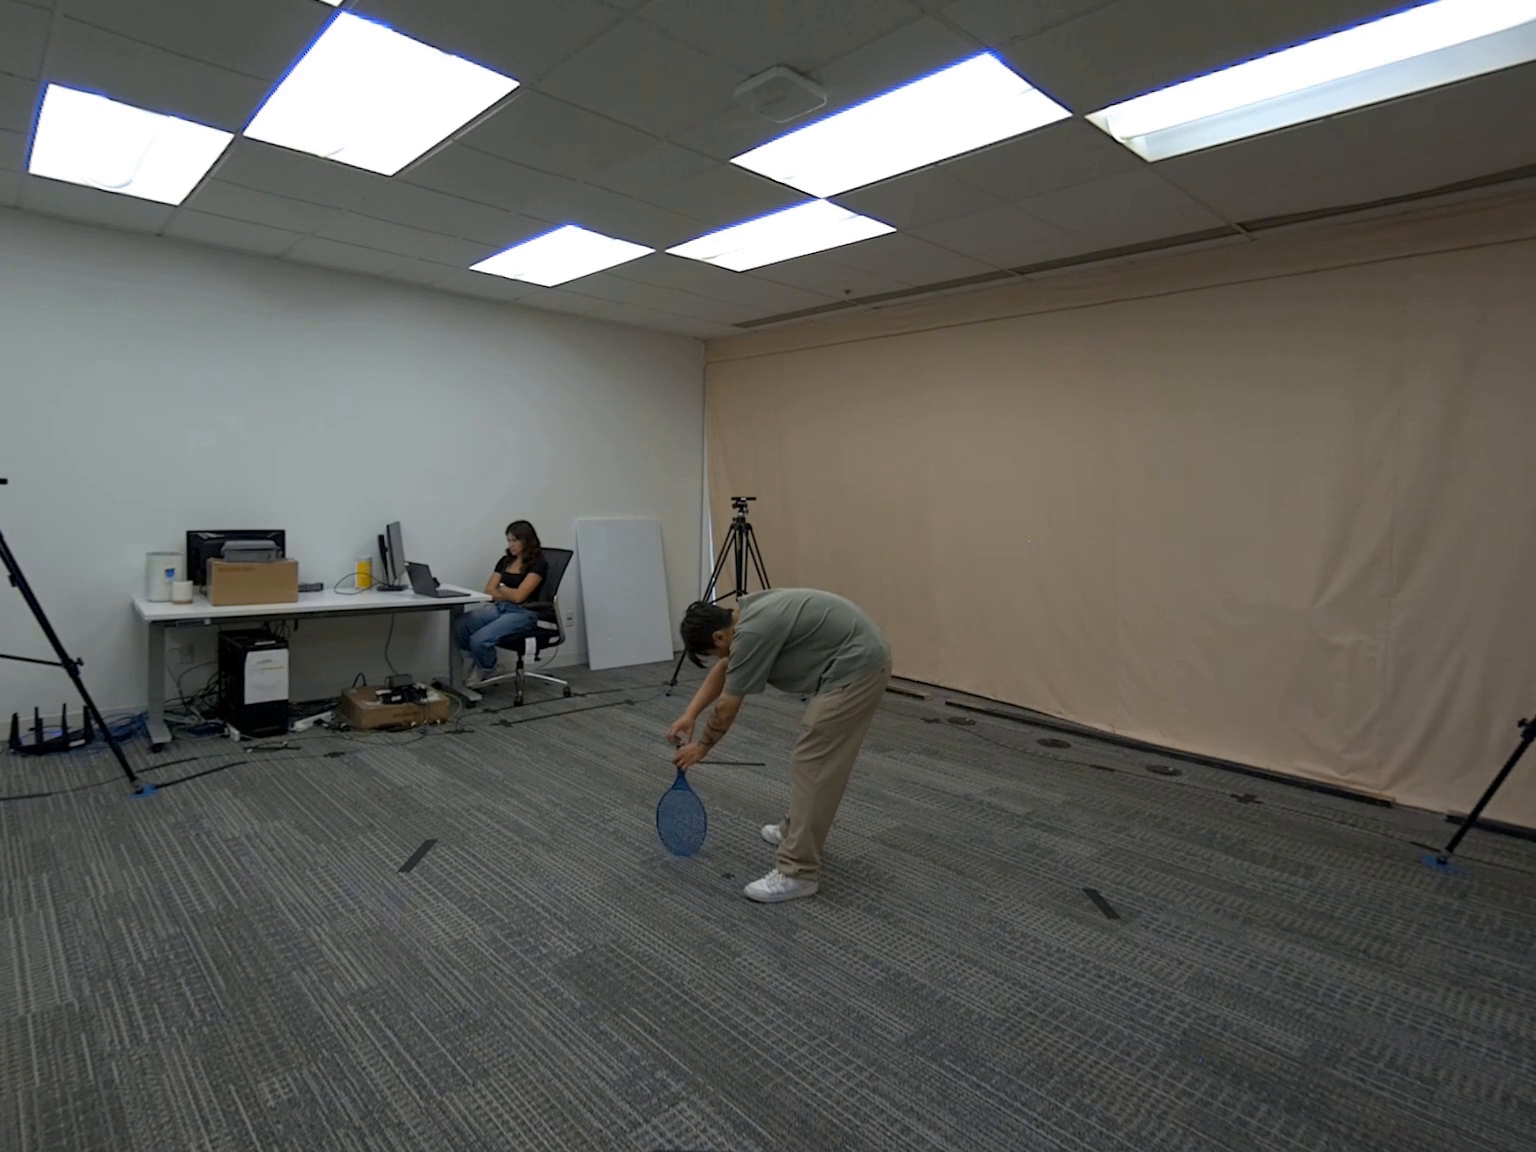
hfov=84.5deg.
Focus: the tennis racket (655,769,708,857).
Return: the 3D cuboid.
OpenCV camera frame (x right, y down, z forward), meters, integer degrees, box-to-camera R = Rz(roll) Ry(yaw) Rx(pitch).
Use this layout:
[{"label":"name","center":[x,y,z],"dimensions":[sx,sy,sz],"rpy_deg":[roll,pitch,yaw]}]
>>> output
[{"label":"tennis racket","center":[-0.340,0.873,3.271],"dimensions":[0.217,0.432,0.031],"rpy_deg":[2,1,19]}]
